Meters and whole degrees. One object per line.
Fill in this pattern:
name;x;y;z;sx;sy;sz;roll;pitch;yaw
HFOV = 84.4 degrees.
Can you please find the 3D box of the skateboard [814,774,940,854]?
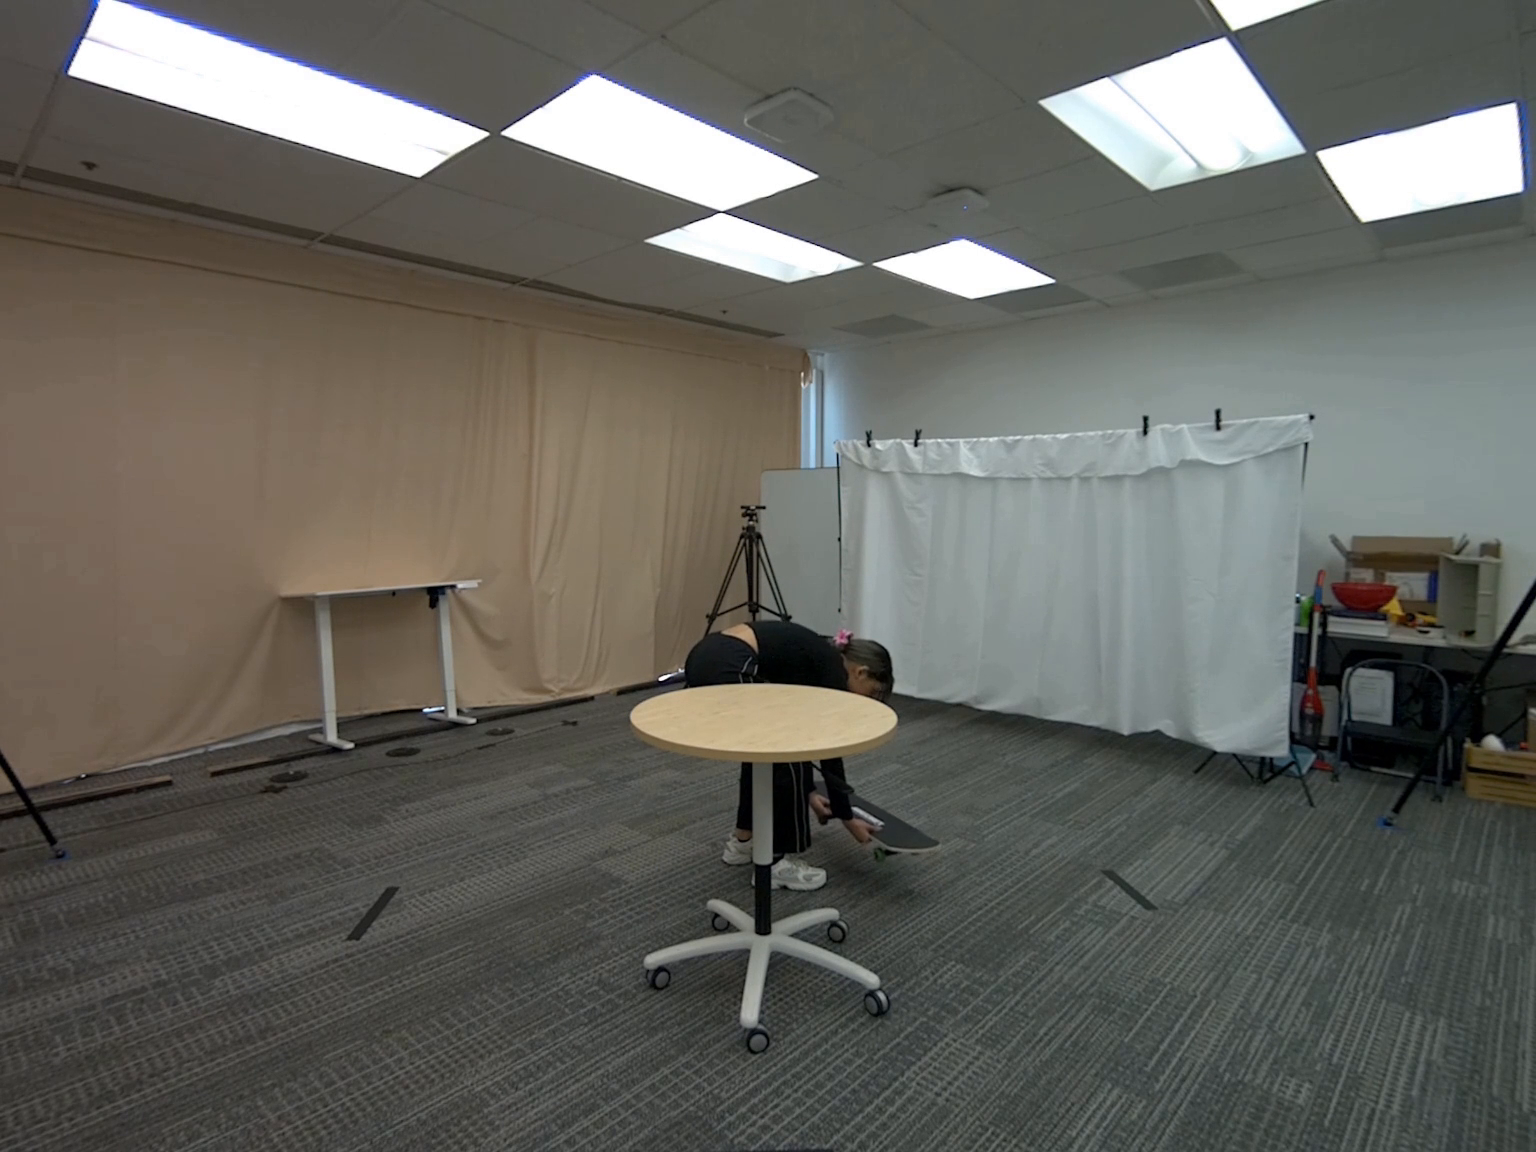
skateboard;0.375;0.955;3.248;0.189;0.110;0.806;-3;5;-26
